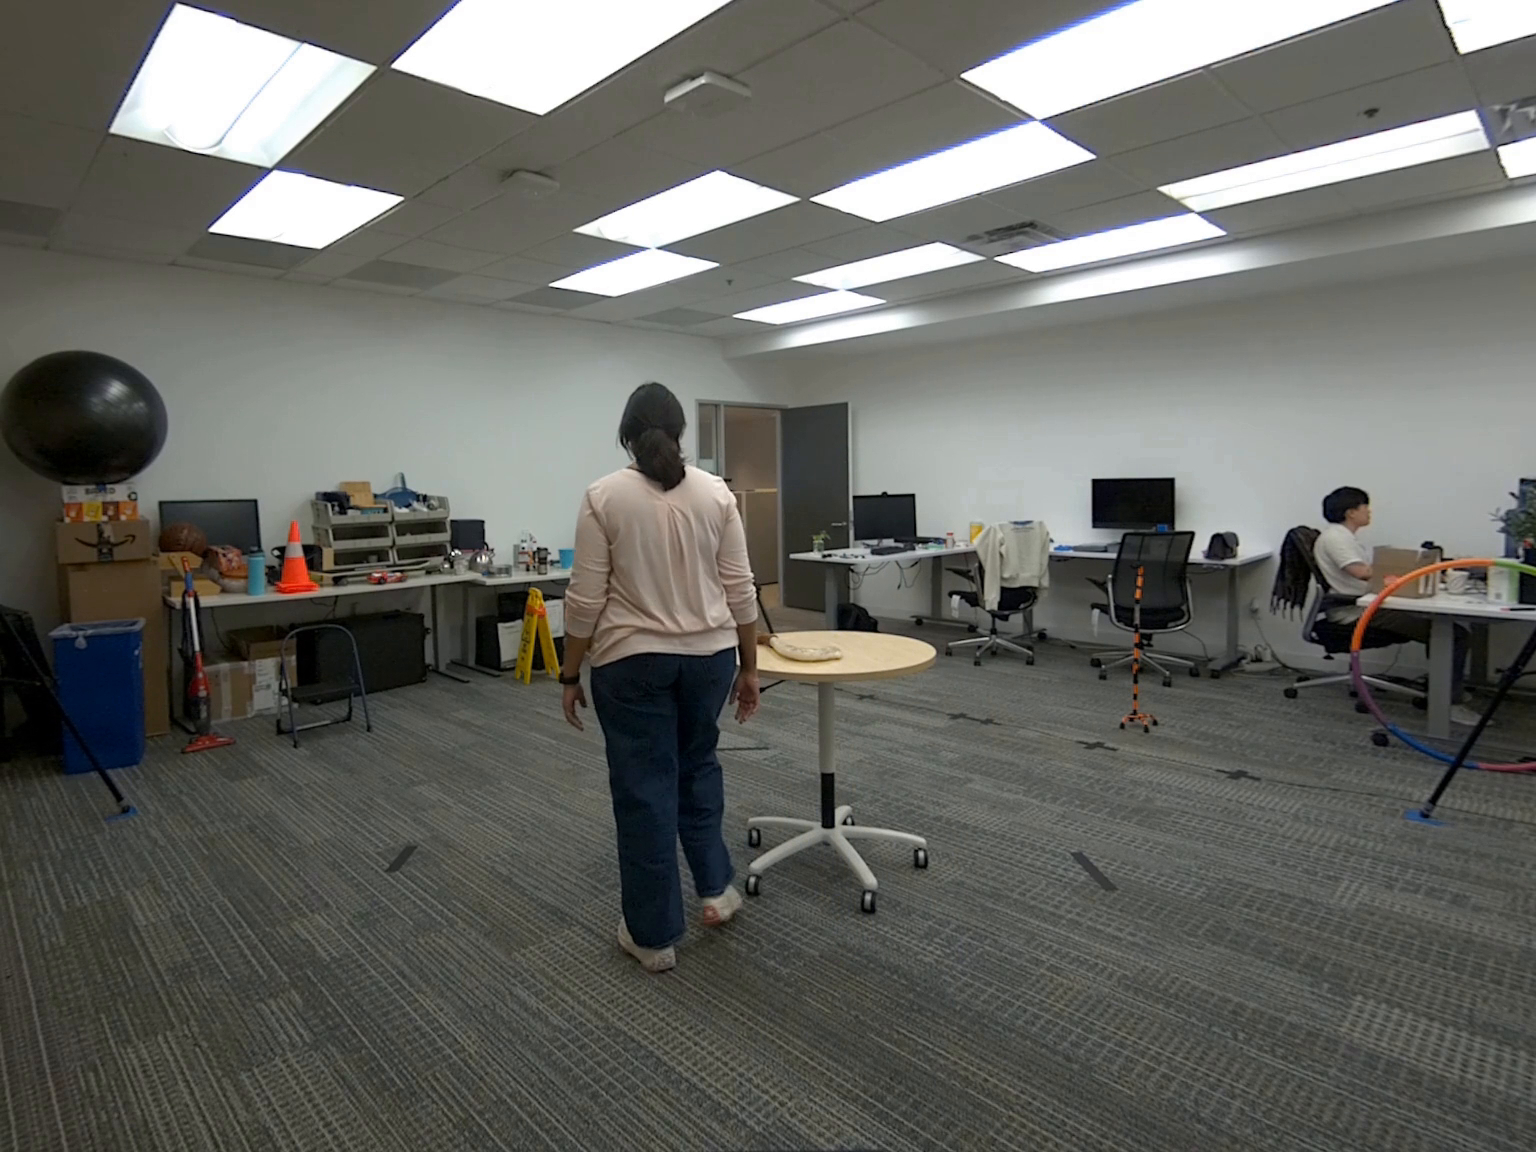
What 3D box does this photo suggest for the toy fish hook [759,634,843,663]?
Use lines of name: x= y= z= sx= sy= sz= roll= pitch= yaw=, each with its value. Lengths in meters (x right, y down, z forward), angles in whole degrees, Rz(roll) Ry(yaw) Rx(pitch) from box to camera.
toy fish hook: x=0.087 y=0.248 z=3.076 sx=0.220 sy=0.048 sz=0.519 roll=1 pitch=6 yaw=-25
